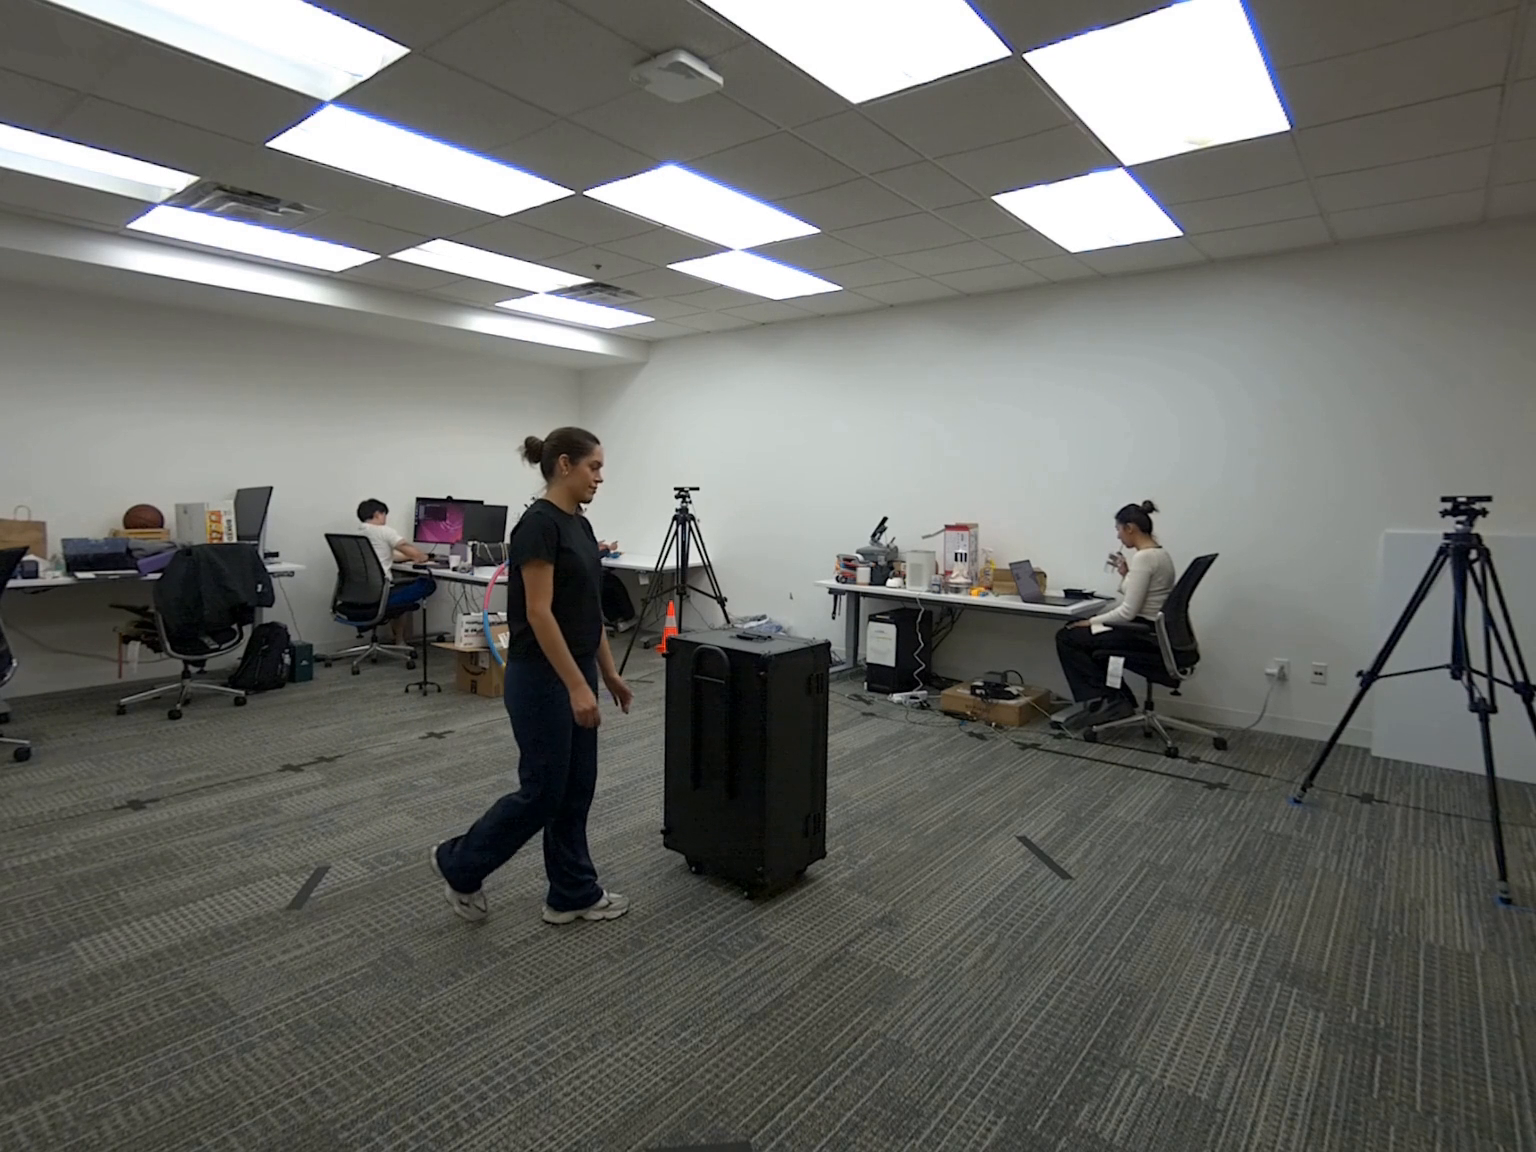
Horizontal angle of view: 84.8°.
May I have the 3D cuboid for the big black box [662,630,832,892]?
[{"bbox_3d":[-0.068,0.649,3.075,0.539,0.858,0.384,4,5,41],"label":"big black box"}]
